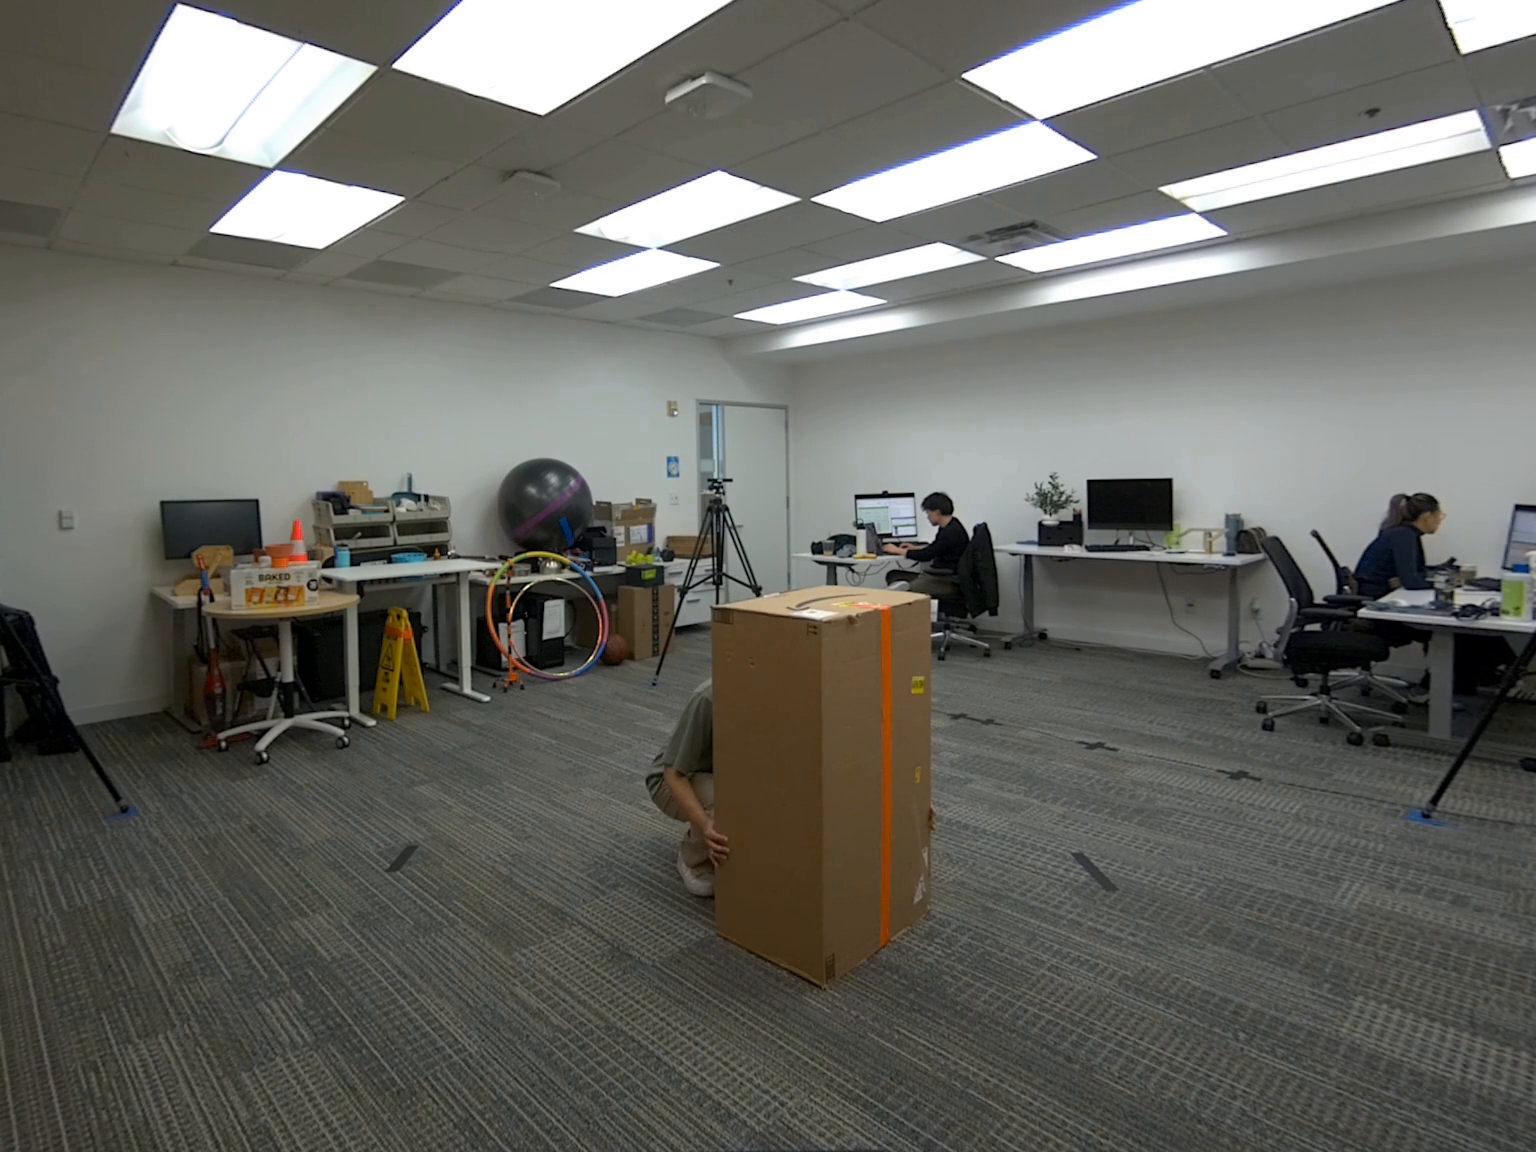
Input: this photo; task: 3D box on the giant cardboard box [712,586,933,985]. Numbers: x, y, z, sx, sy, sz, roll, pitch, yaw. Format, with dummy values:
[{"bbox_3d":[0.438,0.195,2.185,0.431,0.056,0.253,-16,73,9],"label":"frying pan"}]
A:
[{"bbox_3d":[0.180,0.582,2.648,0.439,1.022,0.562,3,5,42],"label":"giant cardboard box"}]
